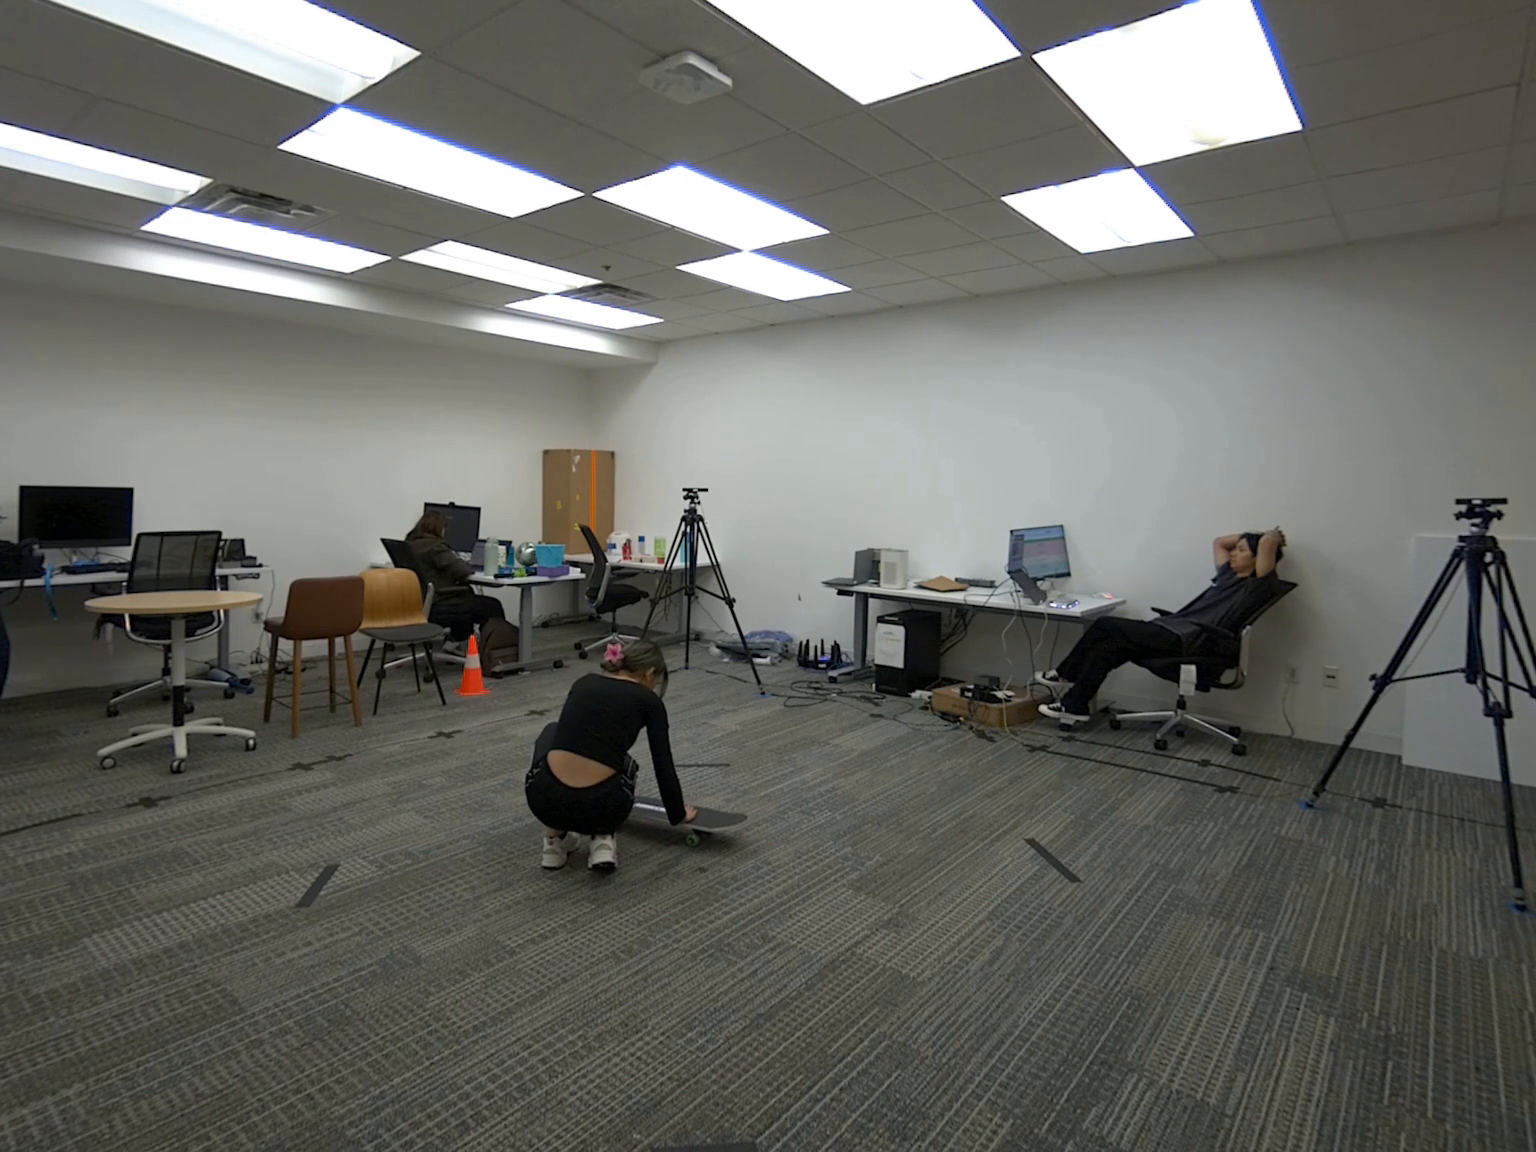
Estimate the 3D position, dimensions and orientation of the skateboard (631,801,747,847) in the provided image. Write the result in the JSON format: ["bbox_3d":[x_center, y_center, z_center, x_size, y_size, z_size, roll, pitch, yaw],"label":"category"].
[{"bbox_3d":[-0.462,0.976,3.457,0.804,0.110,0.189,3,5,22],"label":"skateboard"}]
